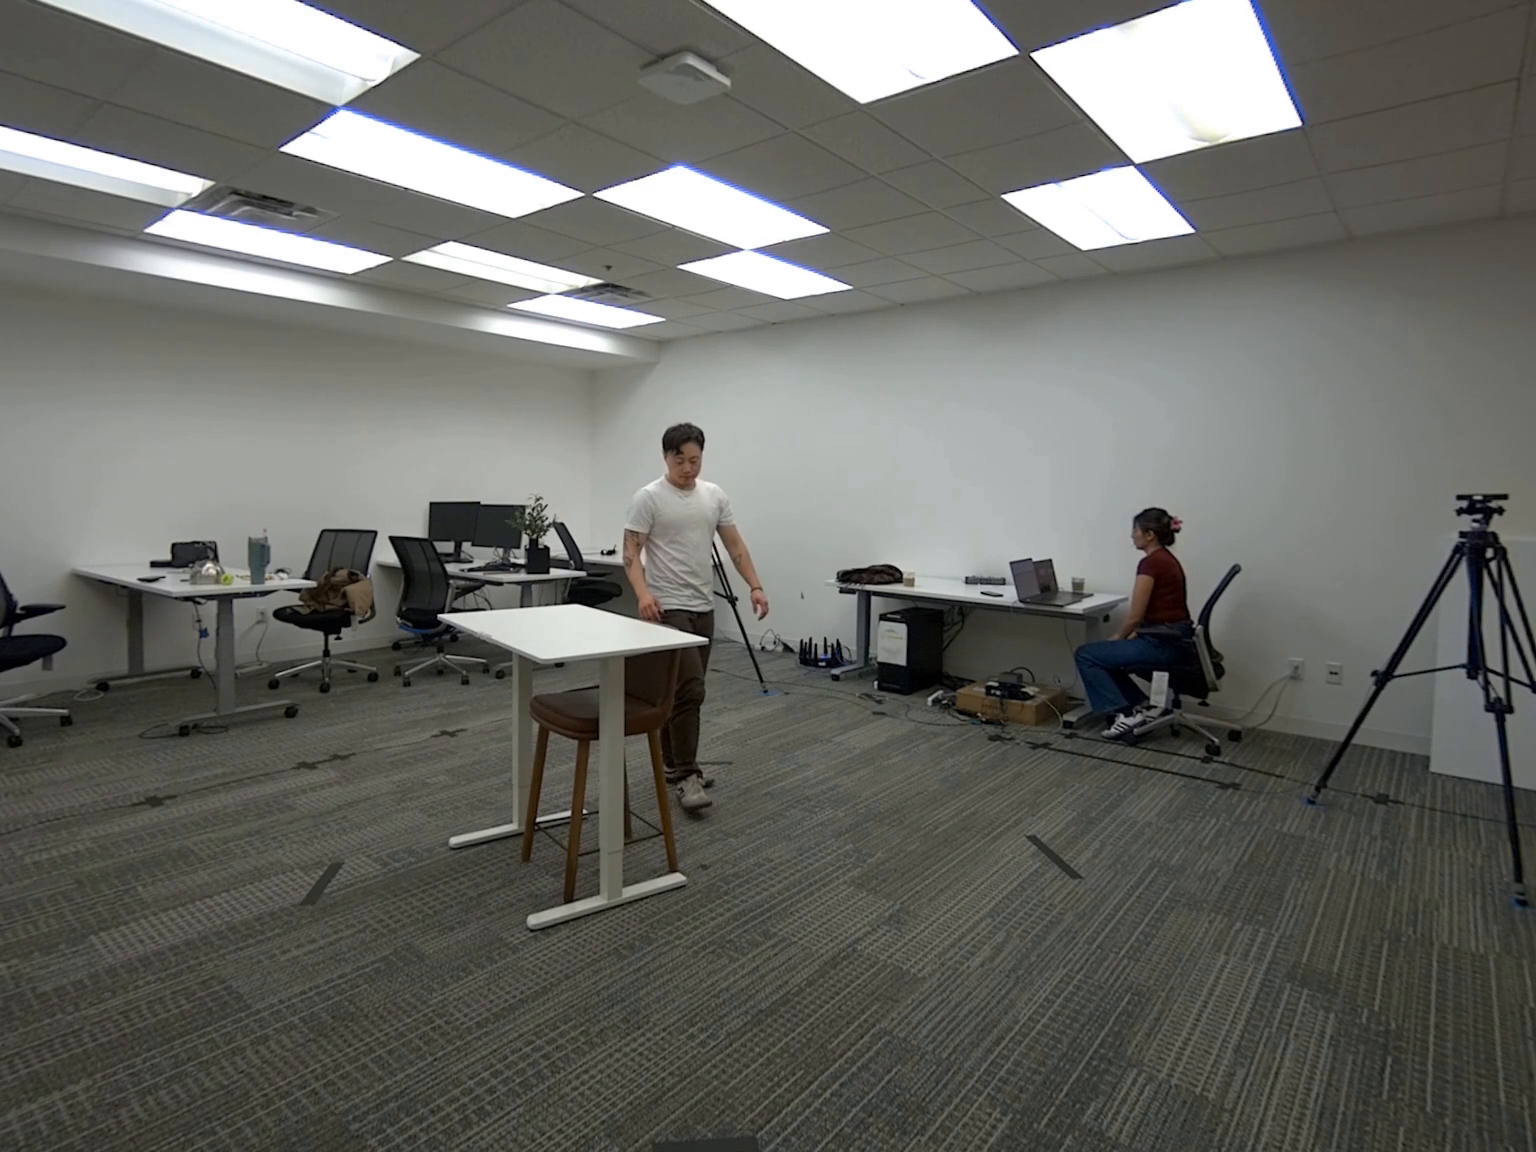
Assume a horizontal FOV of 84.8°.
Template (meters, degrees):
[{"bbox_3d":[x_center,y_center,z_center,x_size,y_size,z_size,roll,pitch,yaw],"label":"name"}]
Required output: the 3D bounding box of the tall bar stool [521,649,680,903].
[{"bbox_3d":[-0.614,0.634,3.093,0.453,0.888,0.471,1,2,-36],"label":"tall bar stool"}]
